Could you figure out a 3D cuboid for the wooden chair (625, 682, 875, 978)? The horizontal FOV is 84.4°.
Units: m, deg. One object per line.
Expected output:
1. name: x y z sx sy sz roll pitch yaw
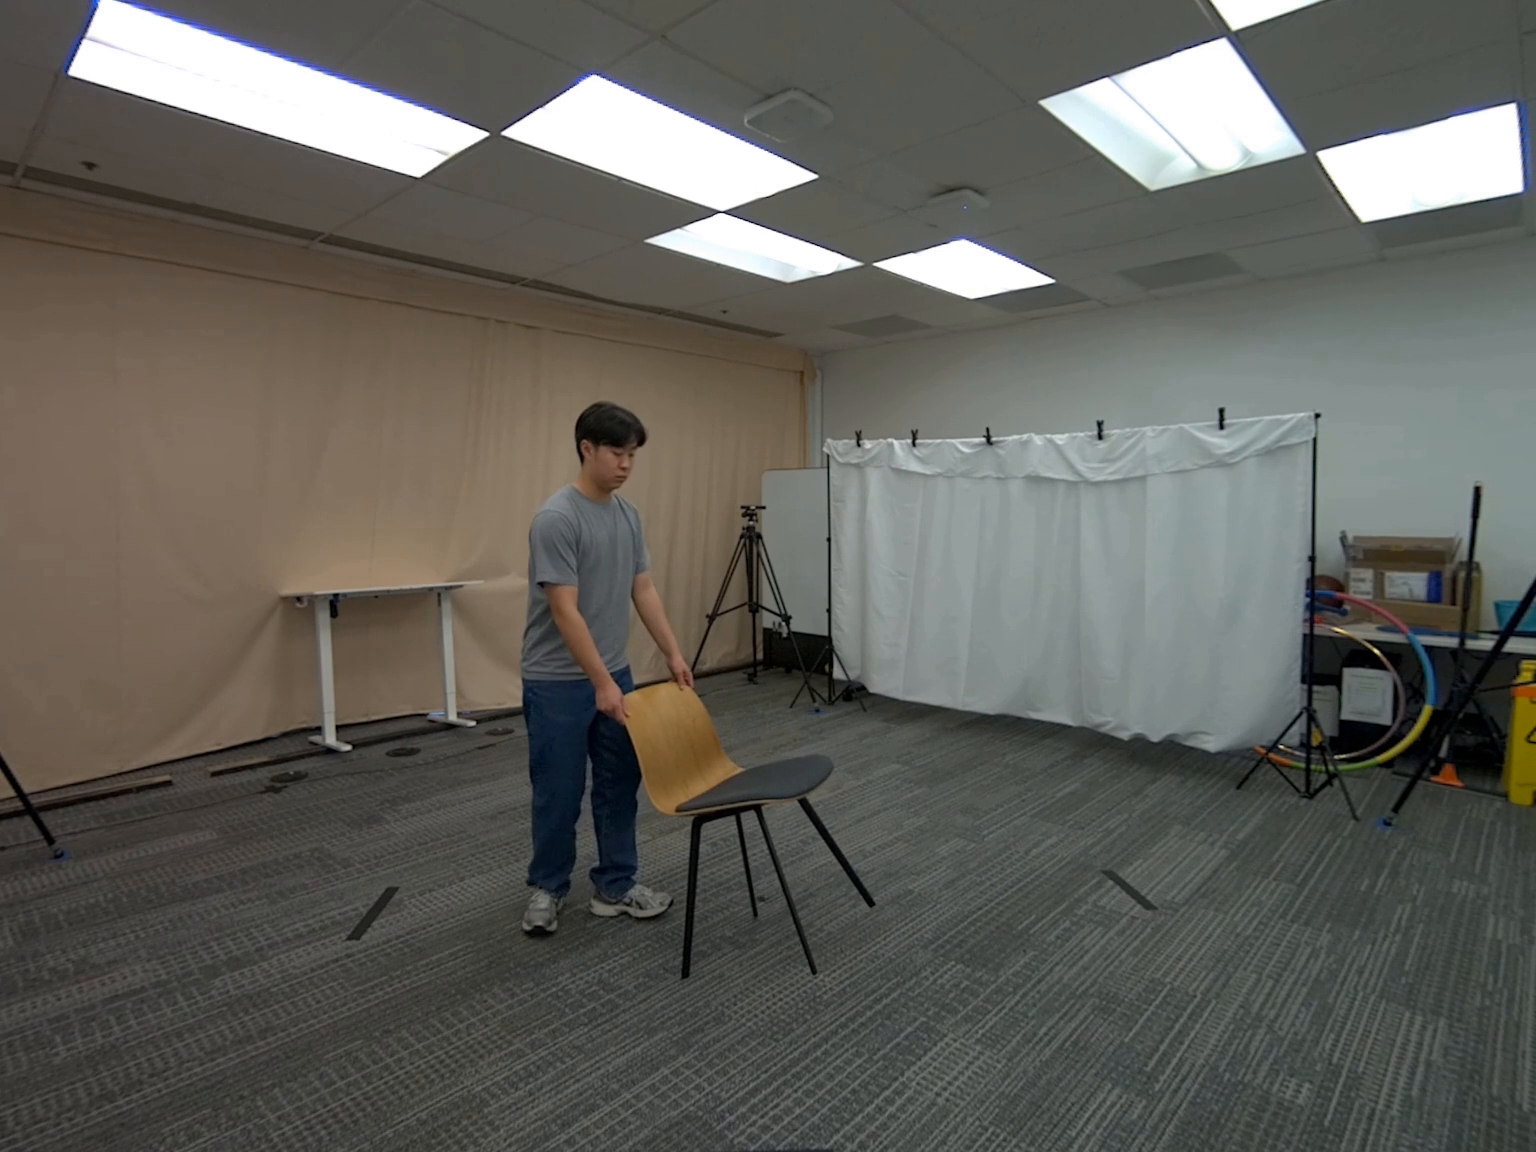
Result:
1. wooden chair: -0.066 0.698 2.594 0.533 0.885 0.465 -25 -10 29
